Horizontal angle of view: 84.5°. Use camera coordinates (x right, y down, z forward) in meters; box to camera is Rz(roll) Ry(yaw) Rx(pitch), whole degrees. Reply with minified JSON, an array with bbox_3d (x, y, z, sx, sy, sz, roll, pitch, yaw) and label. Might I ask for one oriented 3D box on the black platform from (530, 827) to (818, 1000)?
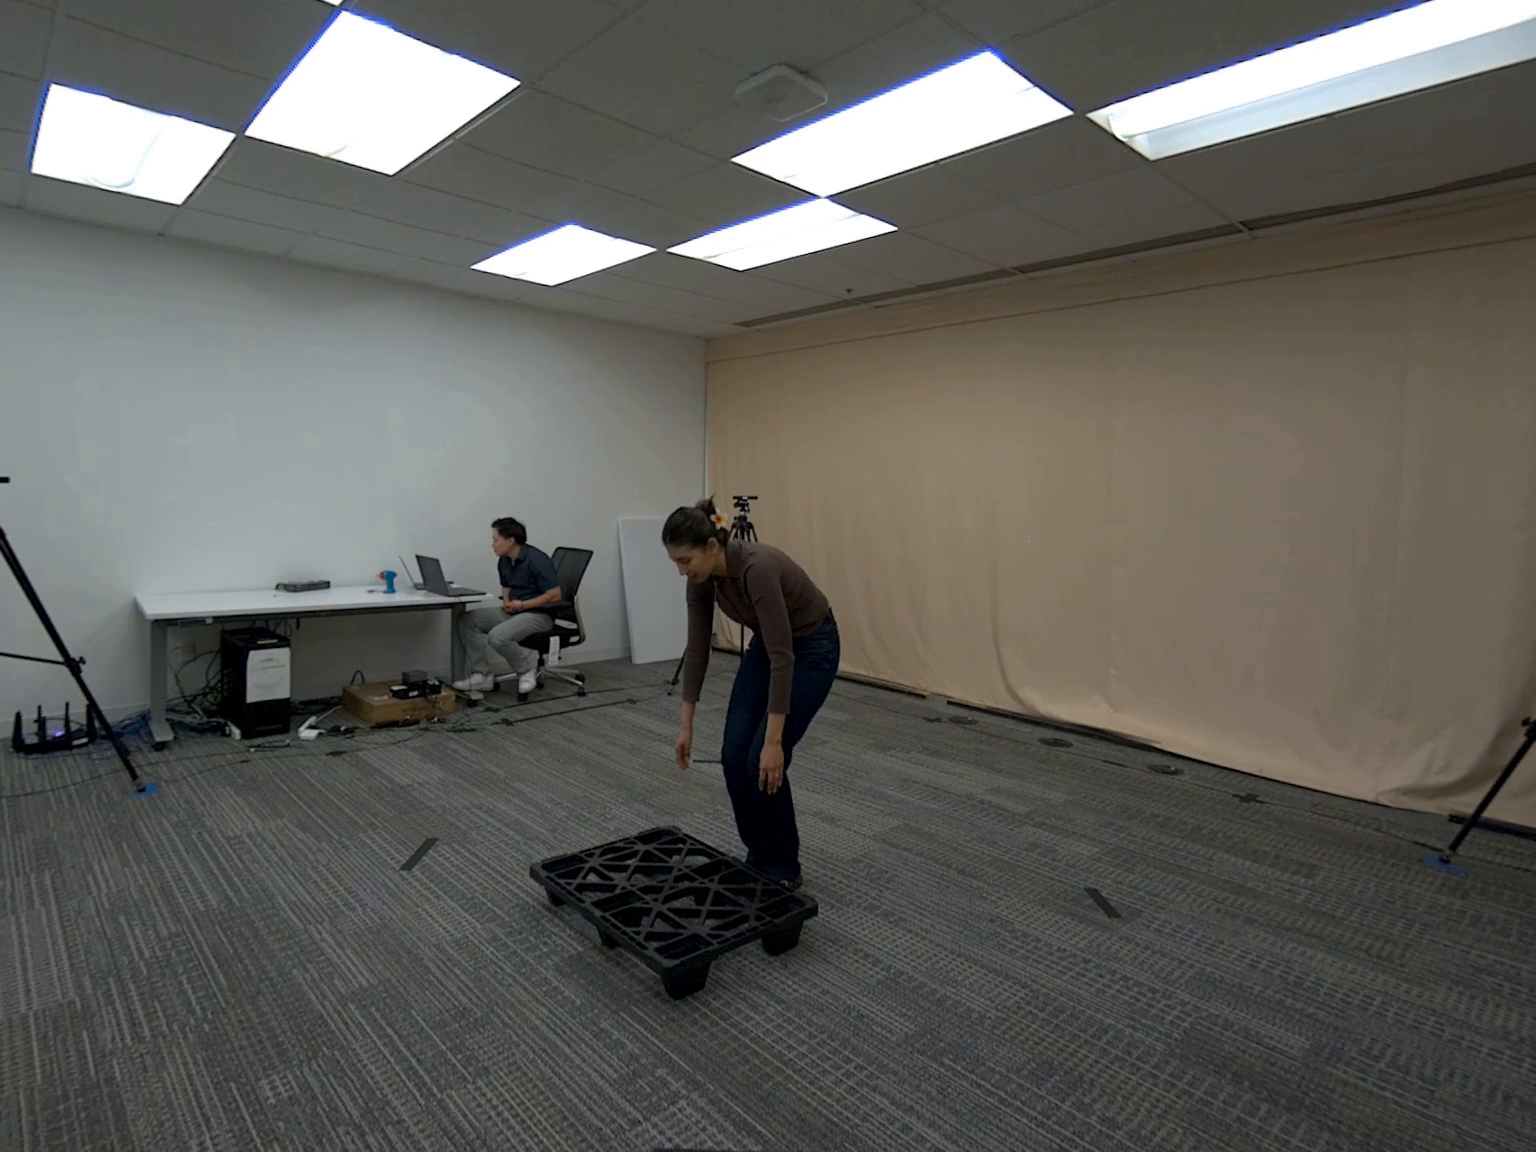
[{"bbox_3d":[-0.332,1.067,2.742,0.591,0.143,0.826,-2,7,-42],"label":"black platform"}]
